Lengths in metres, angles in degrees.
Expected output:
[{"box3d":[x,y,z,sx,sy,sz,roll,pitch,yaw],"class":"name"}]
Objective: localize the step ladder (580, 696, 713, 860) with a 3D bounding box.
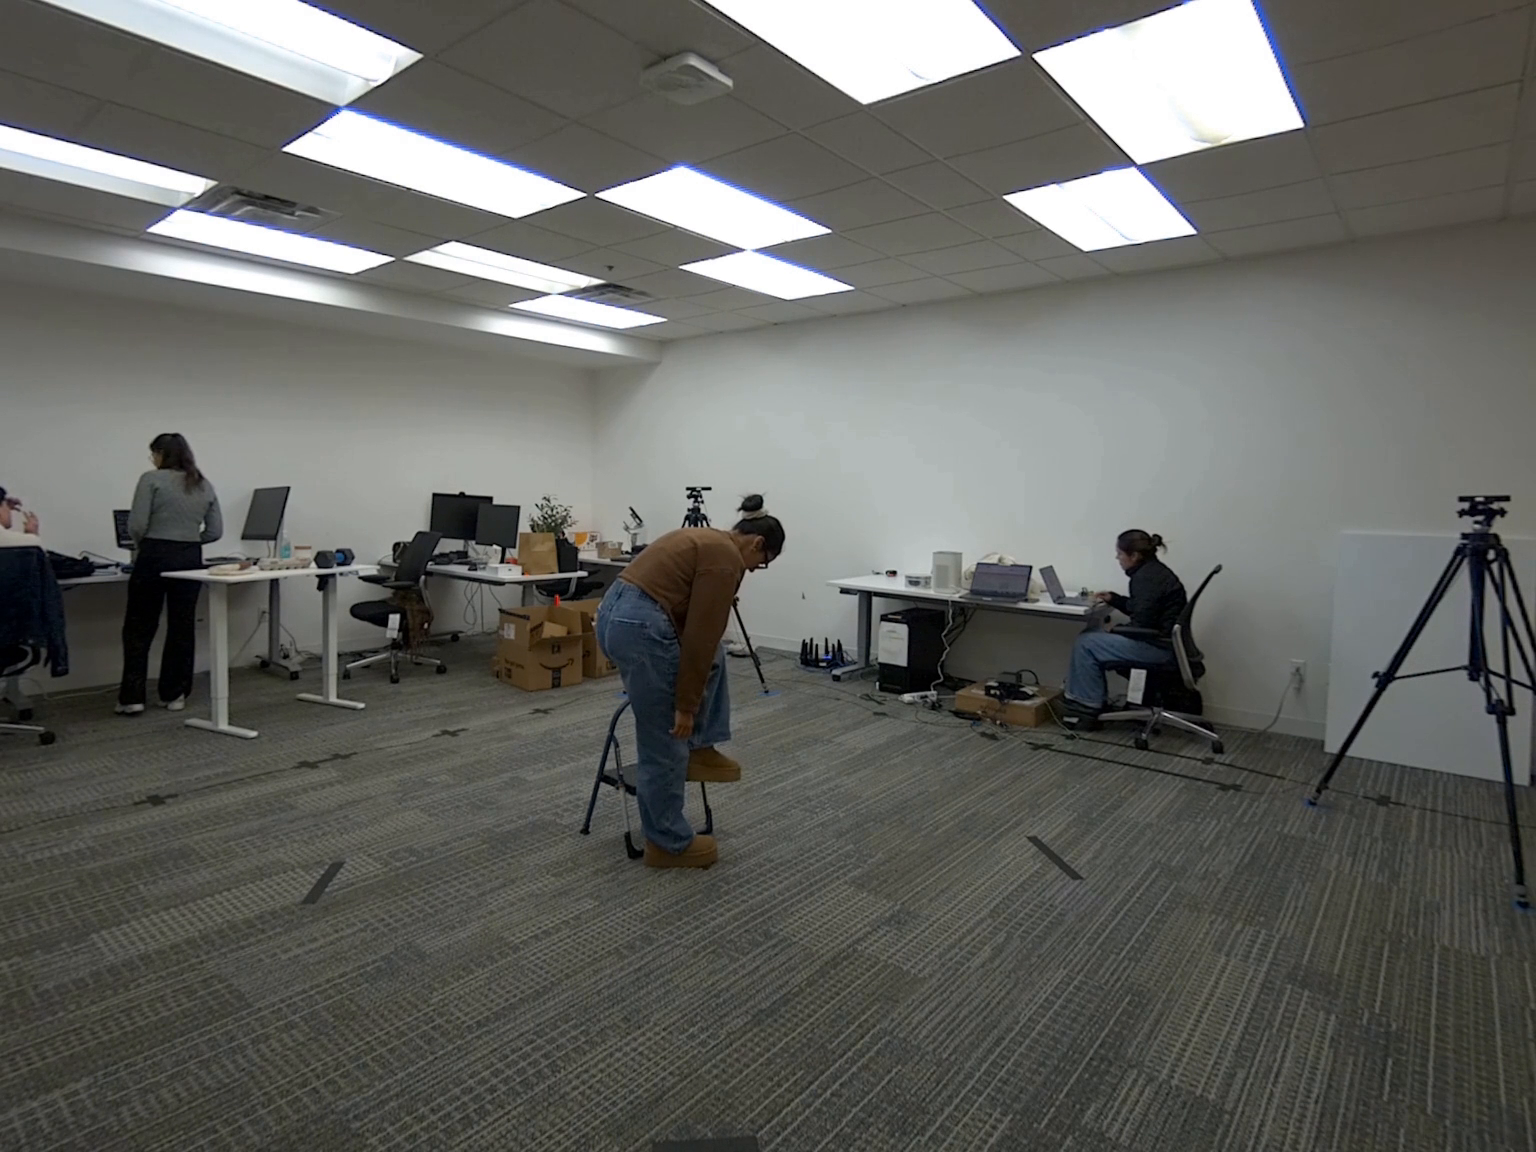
[{"box3d":[-0.493,0.726,3.414,0.417,0.604,0.361,-3,6,-44],"class":"step ladder"}]
